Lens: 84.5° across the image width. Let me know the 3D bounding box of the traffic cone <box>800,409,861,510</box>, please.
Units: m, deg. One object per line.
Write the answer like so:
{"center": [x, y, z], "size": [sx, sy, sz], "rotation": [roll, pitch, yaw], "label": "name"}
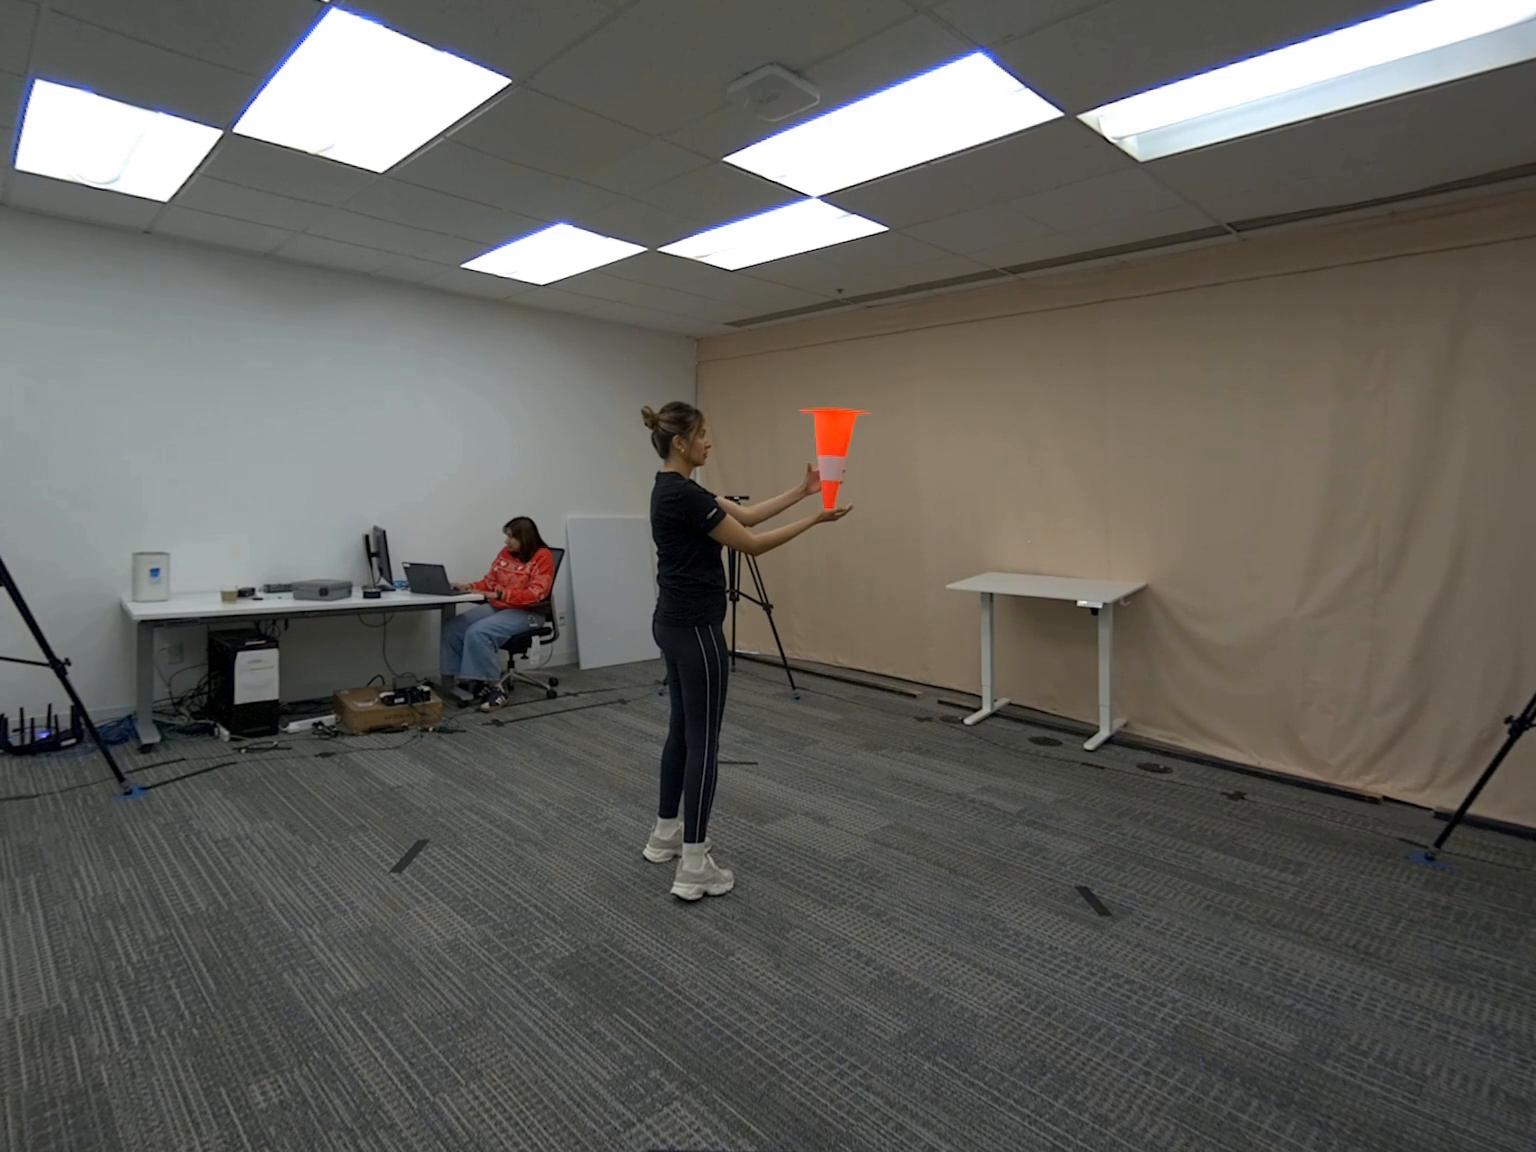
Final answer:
{"center": [0.231, -0.421, 3.124], "size": [0.201, 0.383, 0.208], "rotation": [0, 4, -30], "label": "traffic cone"}
